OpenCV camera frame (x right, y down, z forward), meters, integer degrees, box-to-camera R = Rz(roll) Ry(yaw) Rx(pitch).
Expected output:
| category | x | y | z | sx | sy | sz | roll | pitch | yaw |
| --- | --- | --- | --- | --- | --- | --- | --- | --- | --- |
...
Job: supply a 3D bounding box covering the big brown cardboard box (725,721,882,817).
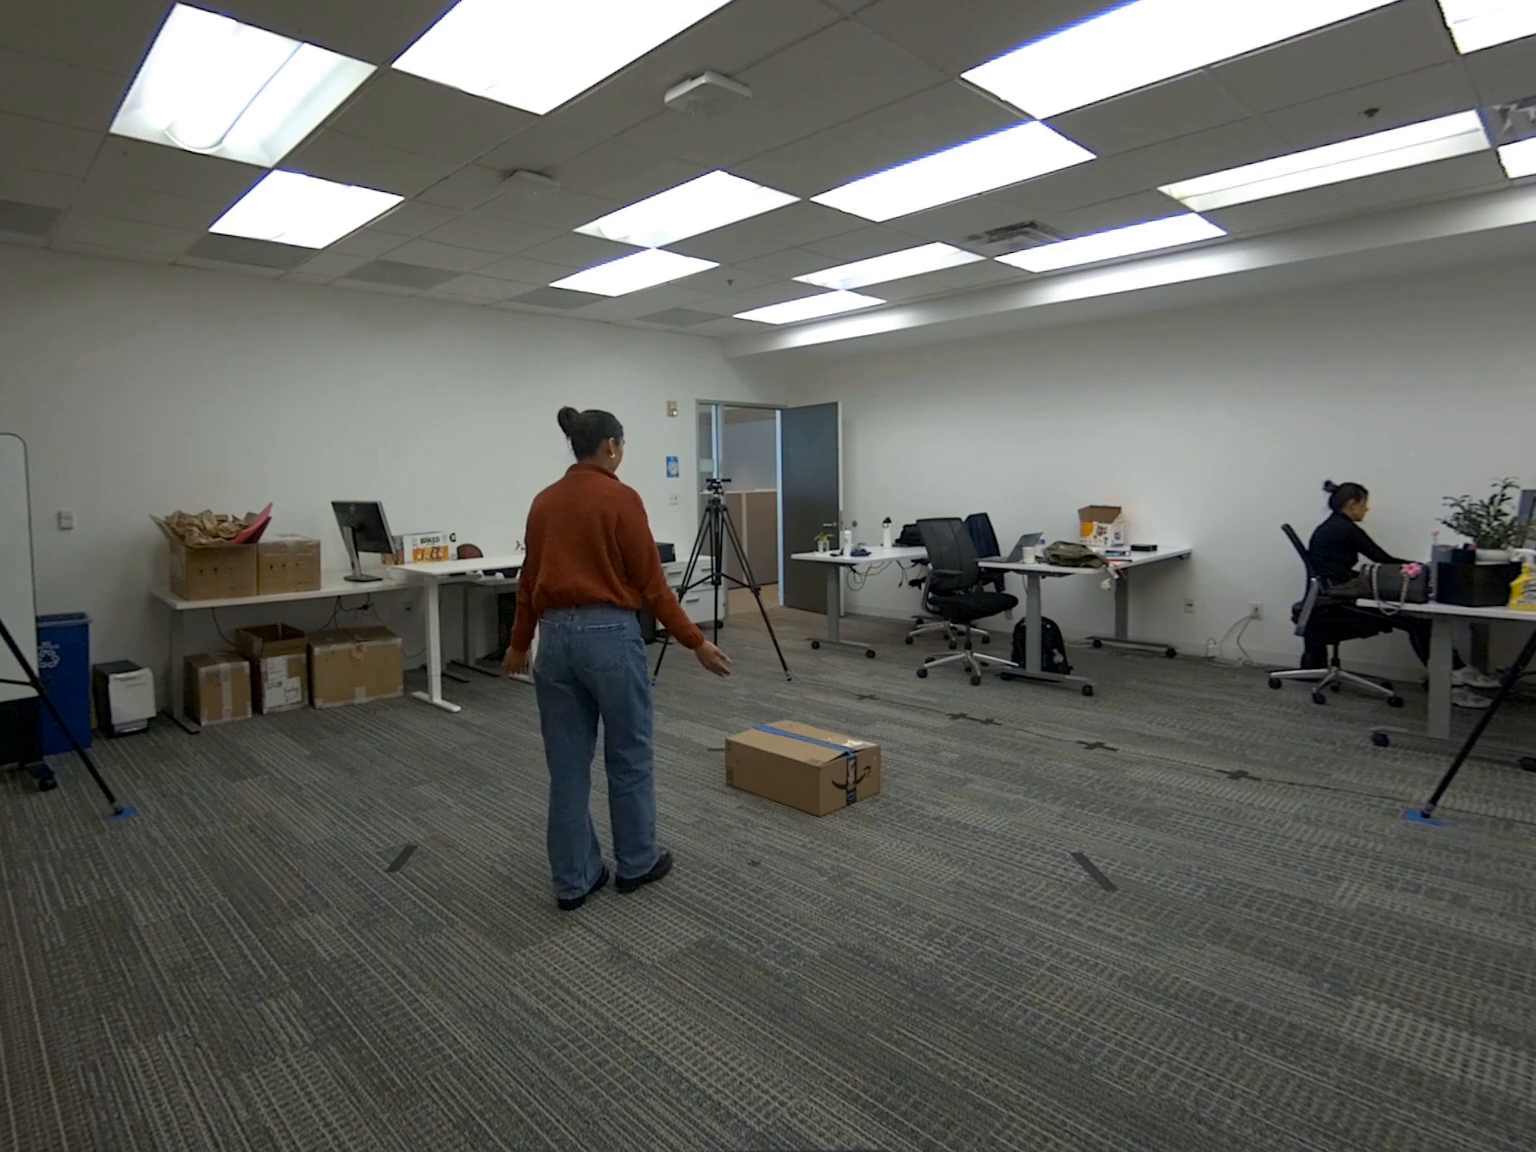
| category | x | y | z | sx | sy | sz | roll | pitch | yaw |
| --- | --- | --- | --- | --- | --- | --- | --- | --- | --- |
| big brown cardboard box | 0.155 | 0.847 | 3.842 | 0.406 | 0.232 | 0.607 | -6 | 7 | -45 |
